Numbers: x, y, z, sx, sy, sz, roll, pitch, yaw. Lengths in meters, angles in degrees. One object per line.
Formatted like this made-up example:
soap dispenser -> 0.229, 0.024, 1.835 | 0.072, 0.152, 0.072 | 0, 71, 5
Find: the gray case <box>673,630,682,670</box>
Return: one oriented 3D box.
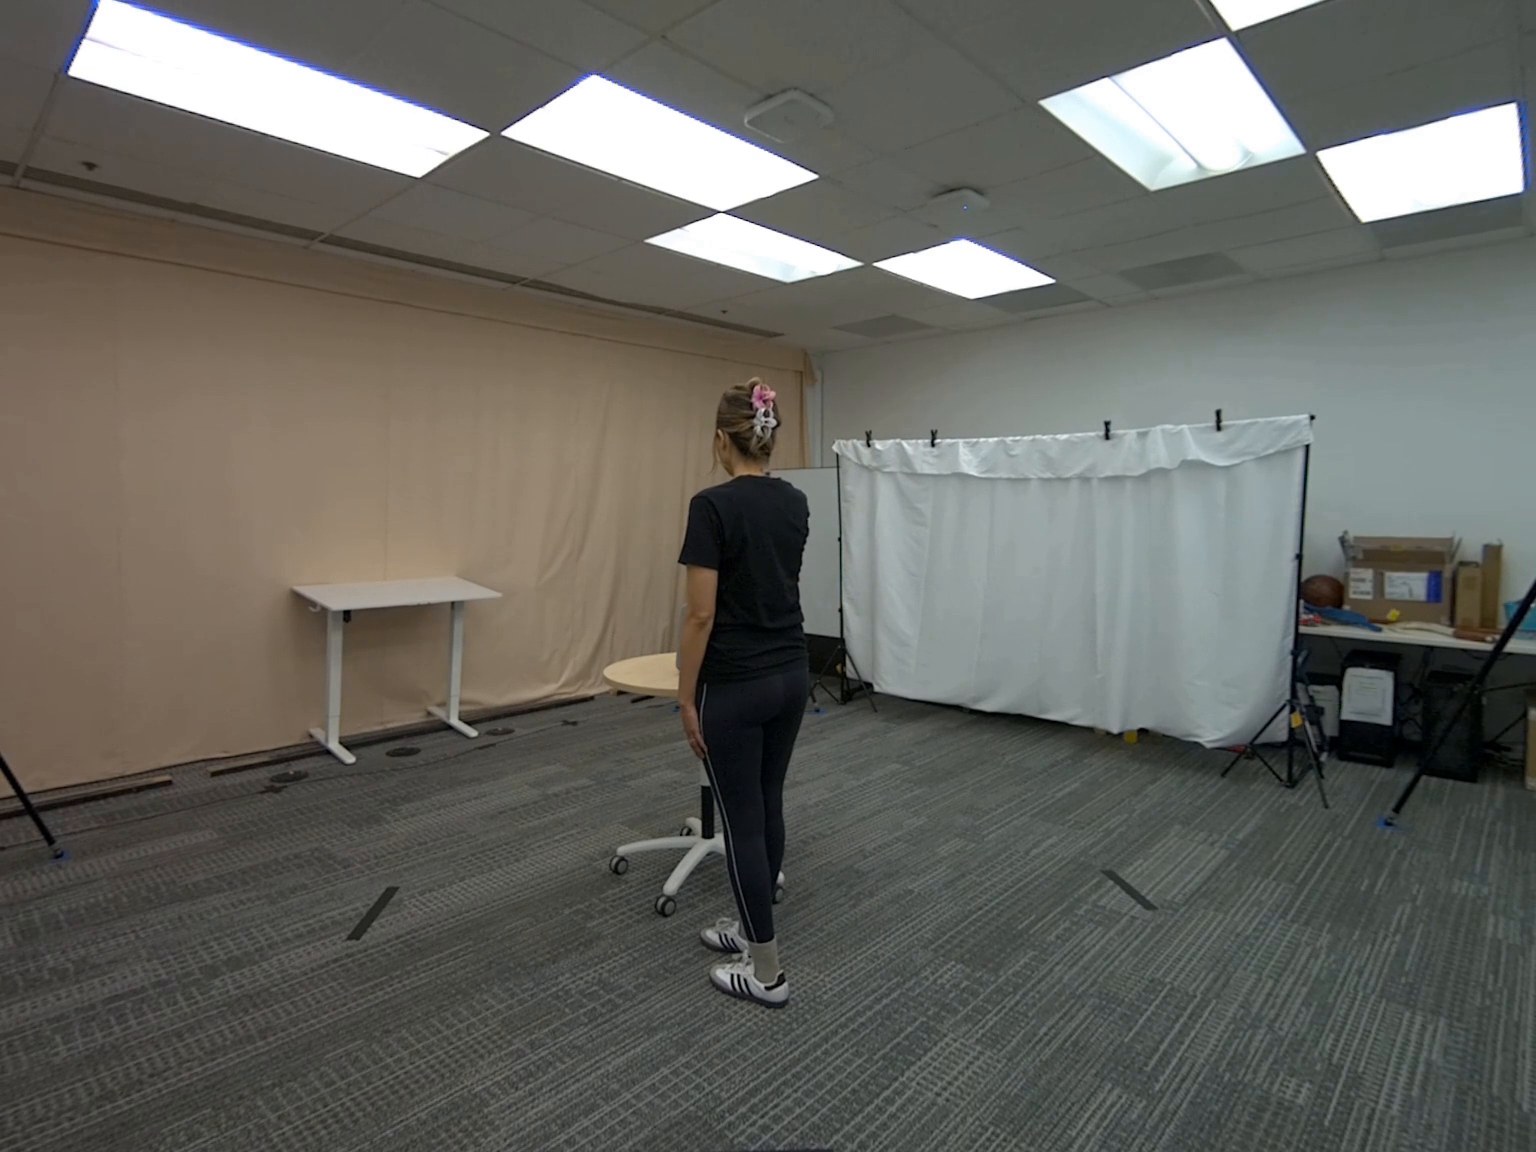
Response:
gray case -> -0.196, 0.221, 3.038 | 0.263, 0.262, 0.101 | 2, -8, 23
